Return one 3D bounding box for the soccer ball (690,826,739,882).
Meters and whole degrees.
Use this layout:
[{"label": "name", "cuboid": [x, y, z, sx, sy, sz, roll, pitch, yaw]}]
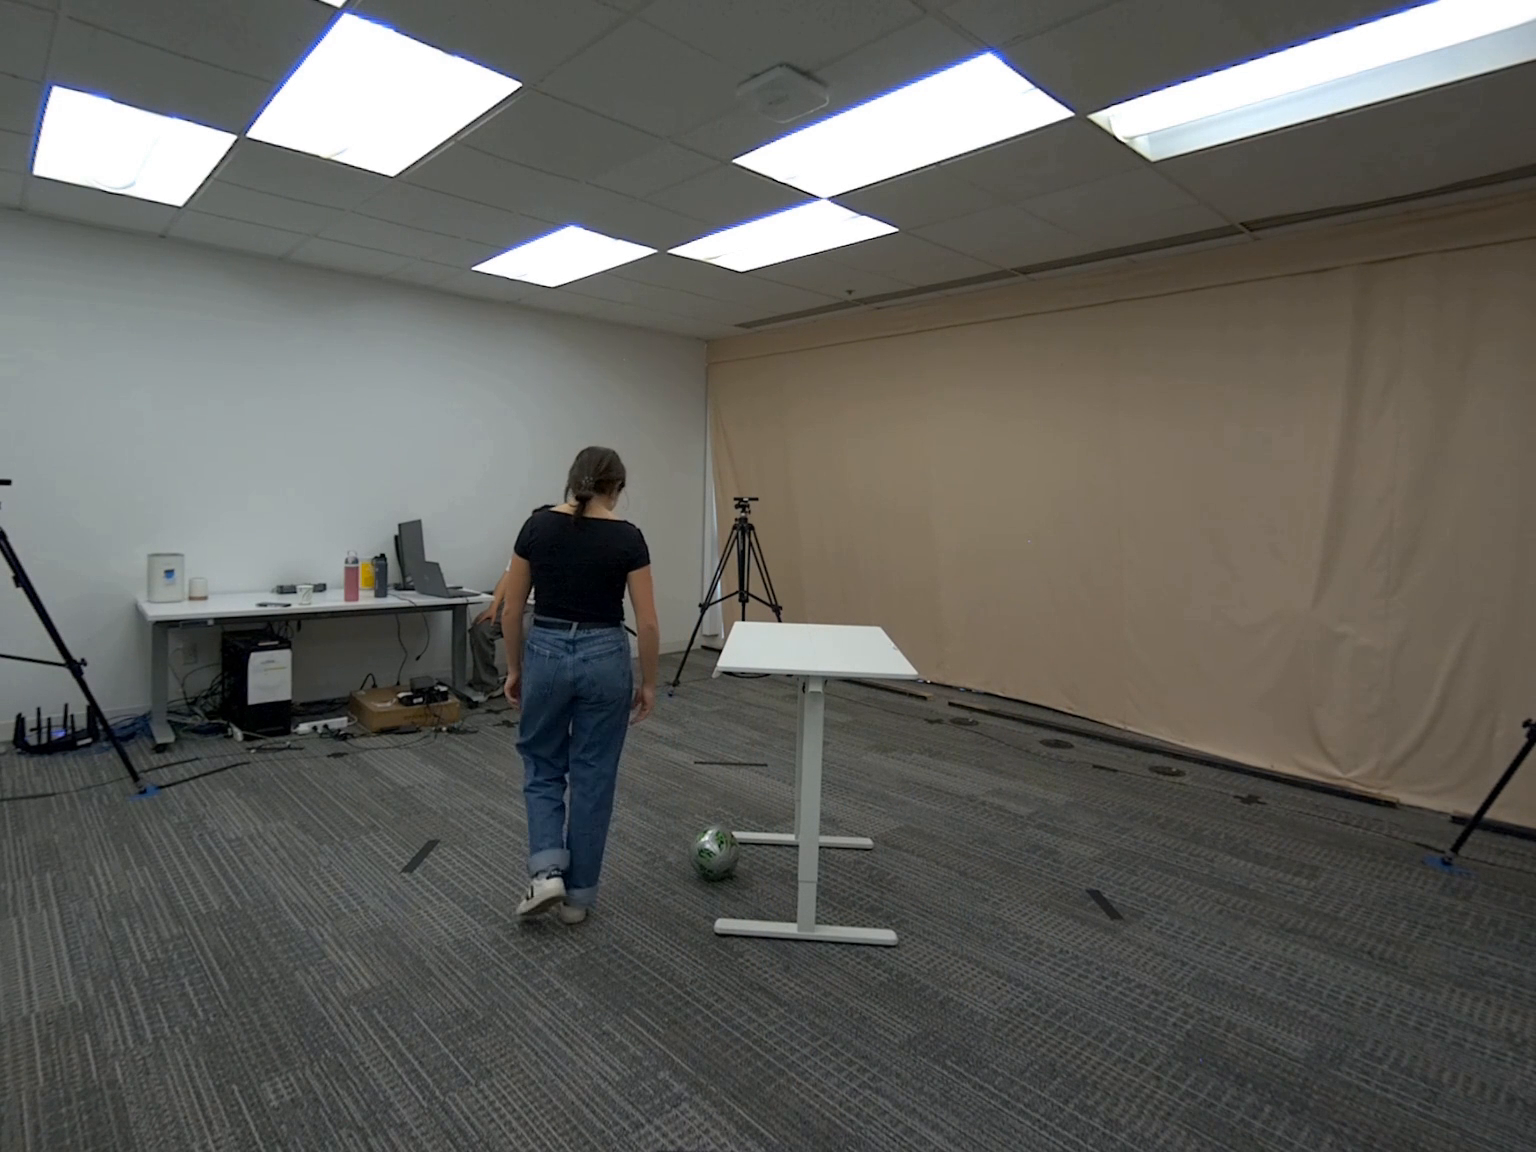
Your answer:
[{"label": "soccer ball", "cuboid": [-0.200, 1.021, 3.083, 0.187, 0.187, 0.188, 1, 4, -1]}]
